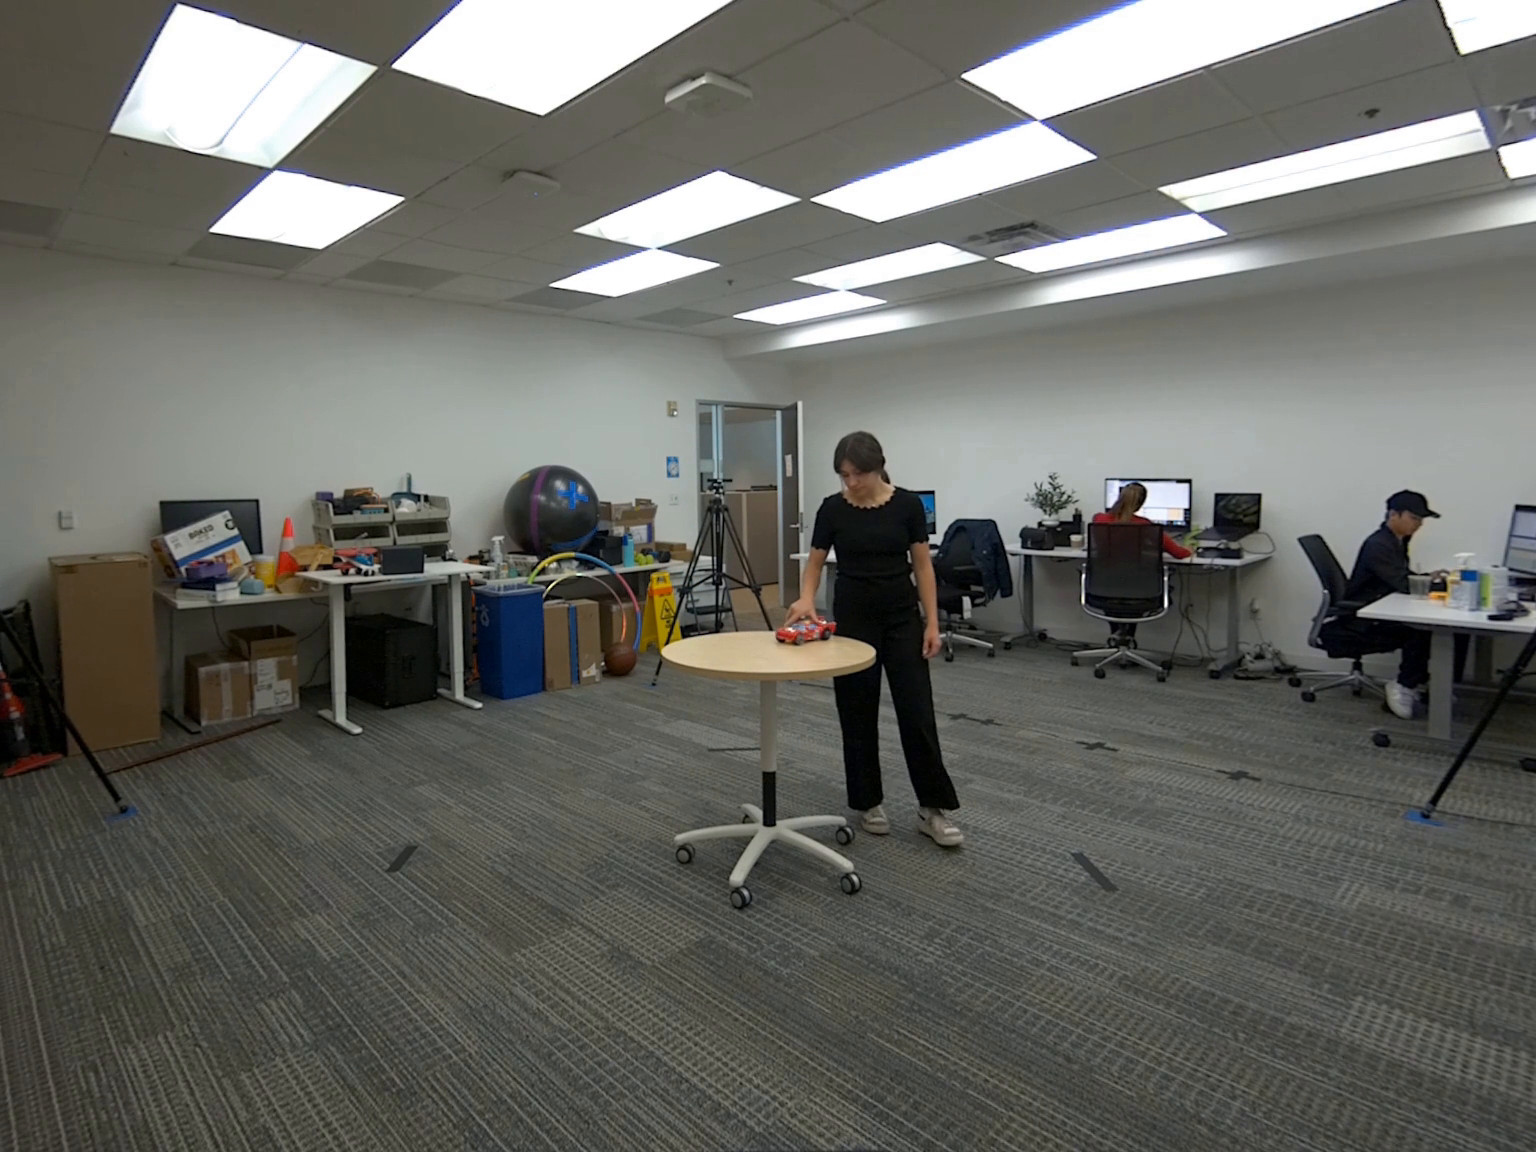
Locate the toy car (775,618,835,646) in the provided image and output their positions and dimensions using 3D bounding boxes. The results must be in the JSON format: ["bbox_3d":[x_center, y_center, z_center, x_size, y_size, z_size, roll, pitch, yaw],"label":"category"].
[{"bbox_3d":[0.153,0.213,3.243,0.250,0.082,0.134,-20,16,-39],"label":"toy car"}]
